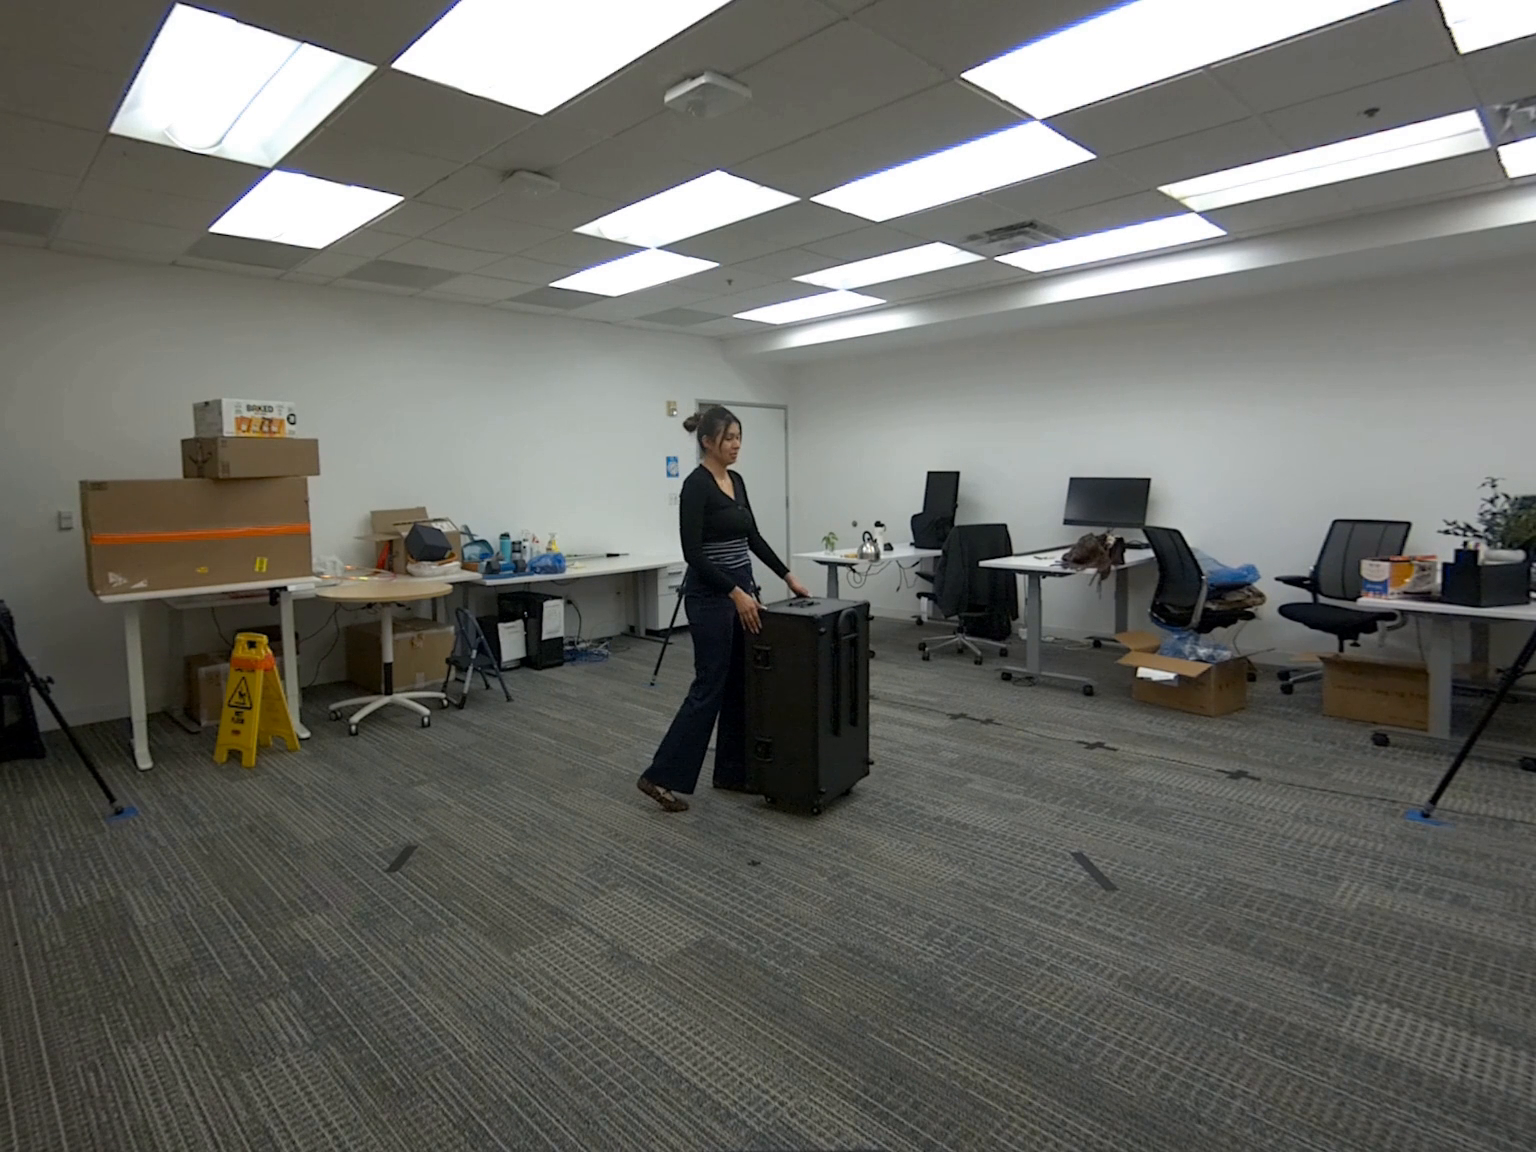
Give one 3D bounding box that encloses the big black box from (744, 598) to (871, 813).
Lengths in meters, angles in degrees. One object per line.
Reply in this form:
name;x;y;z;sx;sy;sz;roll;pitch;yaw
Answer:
big black box;0.193;0.548;3.695;0.407;0.858;0.509;4;6;32
